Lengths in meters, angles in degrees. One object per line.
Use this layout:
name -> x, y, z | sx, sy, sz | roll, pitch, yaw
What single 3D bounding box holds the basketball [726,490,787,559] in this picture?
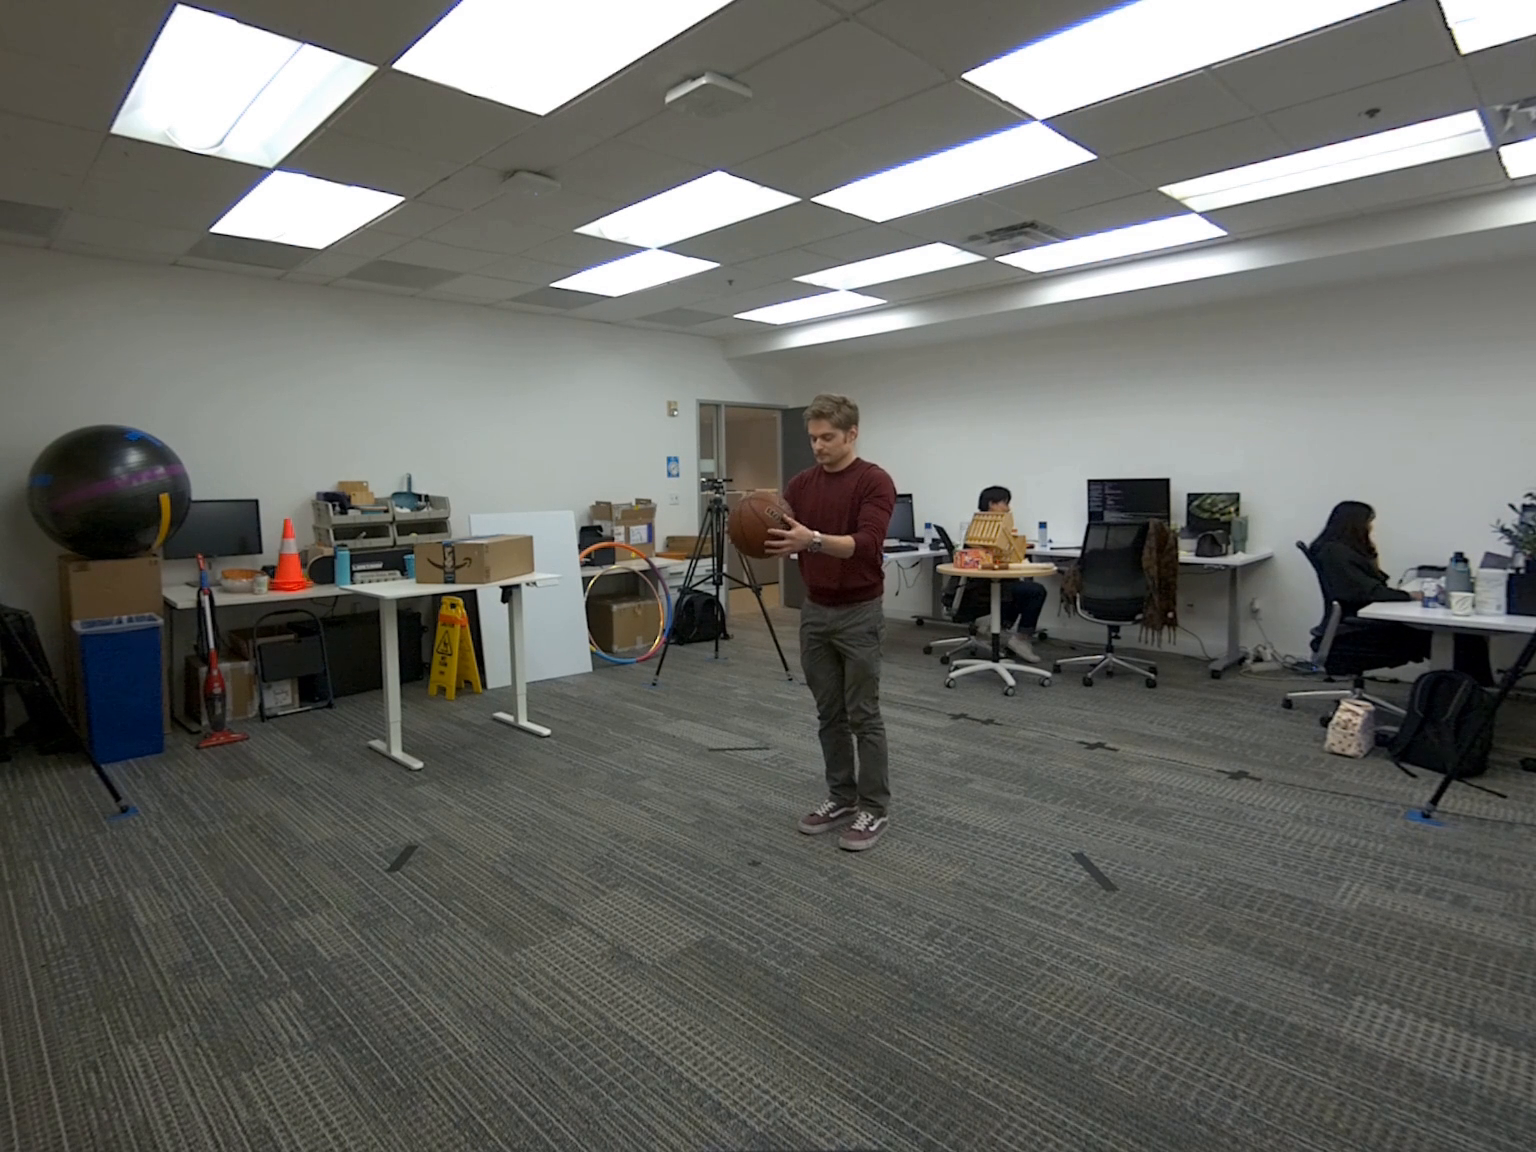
basketball -> -0.022, -0.186, 3.007 | 0.236, 0.235, 0.237 | -1, 5, -2
